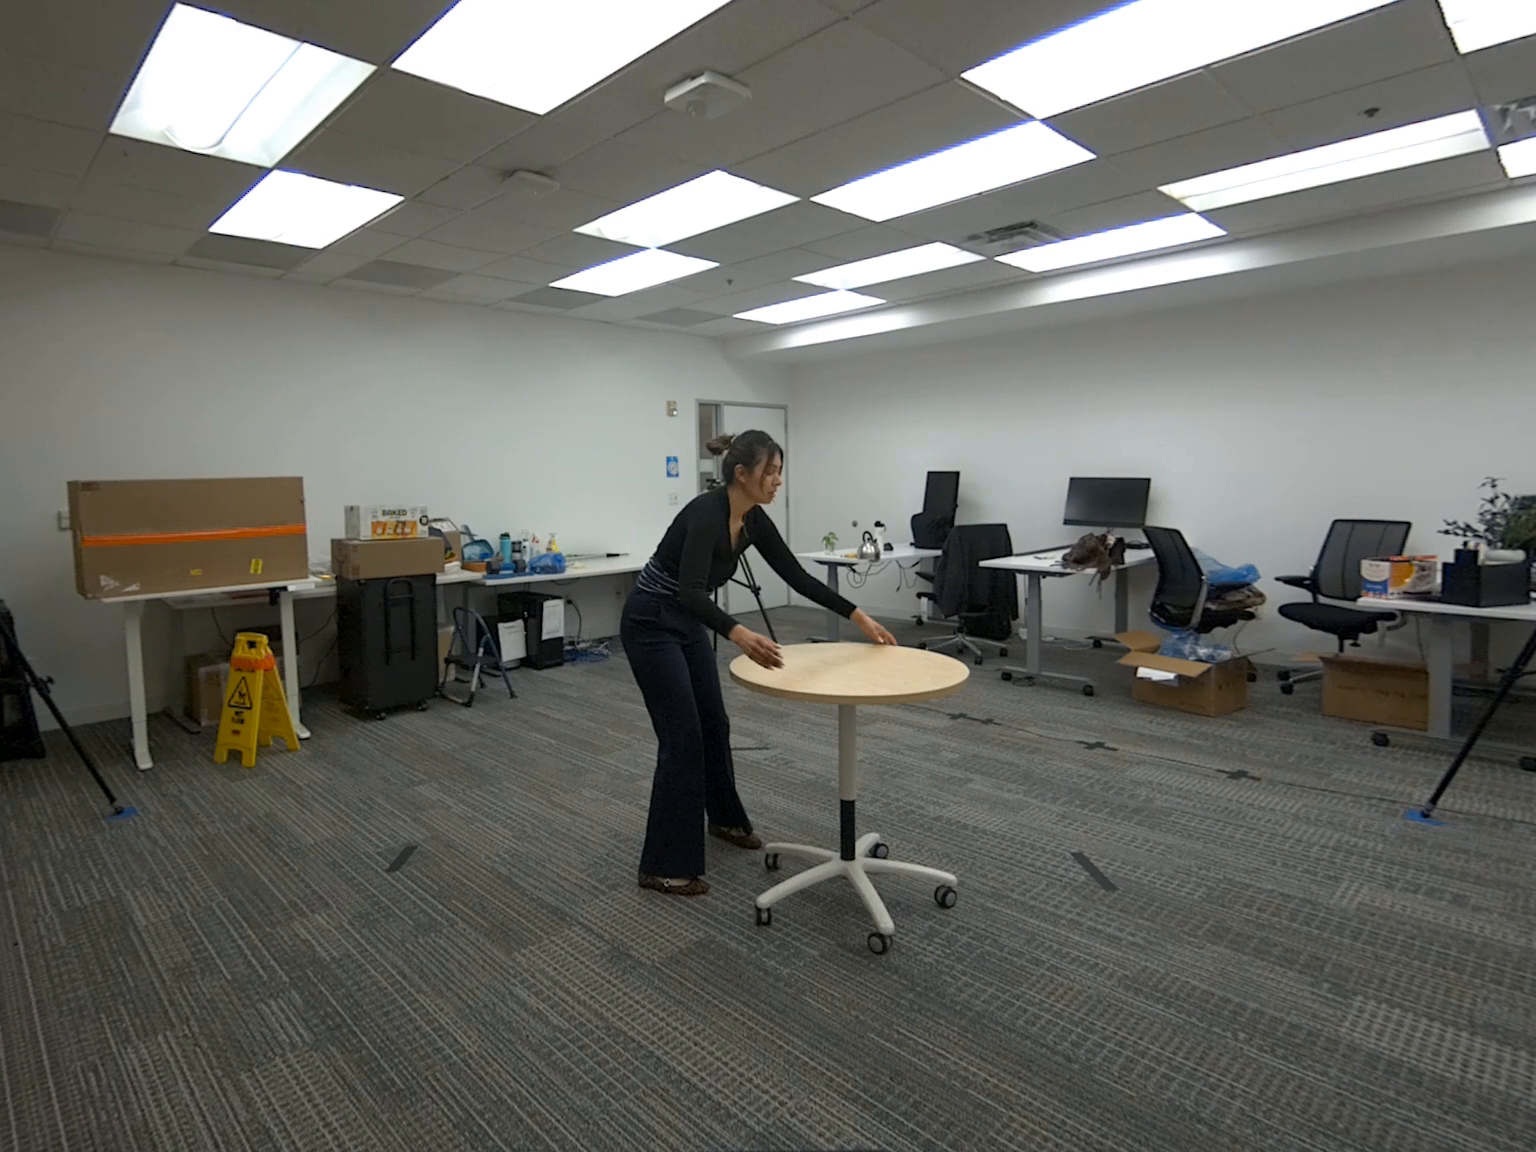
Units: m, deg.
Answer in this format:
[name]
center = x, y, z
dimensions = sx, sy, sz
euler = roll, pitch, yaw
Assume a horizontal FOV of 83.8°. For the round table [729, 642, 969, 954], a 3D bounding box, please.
[round table]
center = 0.271, 0.684, 2.806
dimensions = 0.763, 0.791, 0.768
euler = -1, 5, -2
